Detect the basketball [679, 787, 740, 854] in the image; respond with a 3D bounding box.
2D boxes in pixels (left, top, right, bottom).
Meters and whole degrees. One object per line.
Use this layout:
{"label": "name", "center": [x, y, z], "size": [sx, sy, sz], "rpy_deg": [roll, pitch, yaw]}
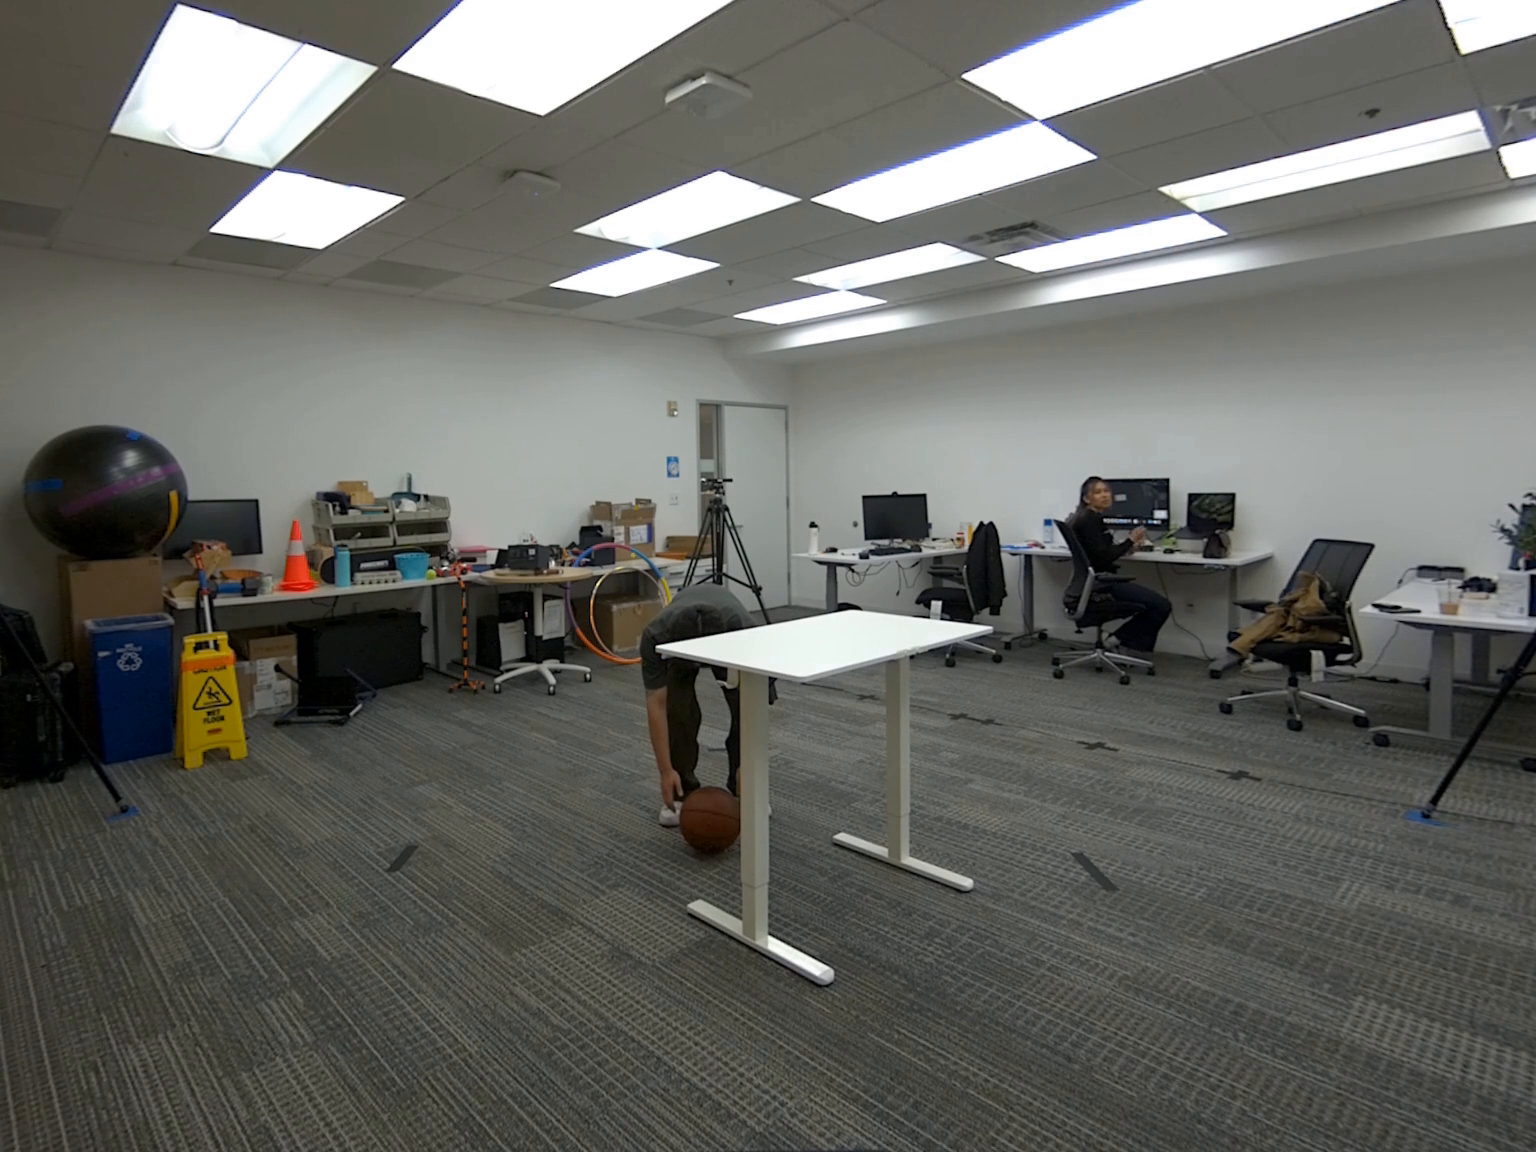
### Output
{"label": "basketball", "center": [-0.215, 0.917, 3.218], "size": [0.236, 0.235, 0.237], "rpy_deg": [-1, 5, -2]}
